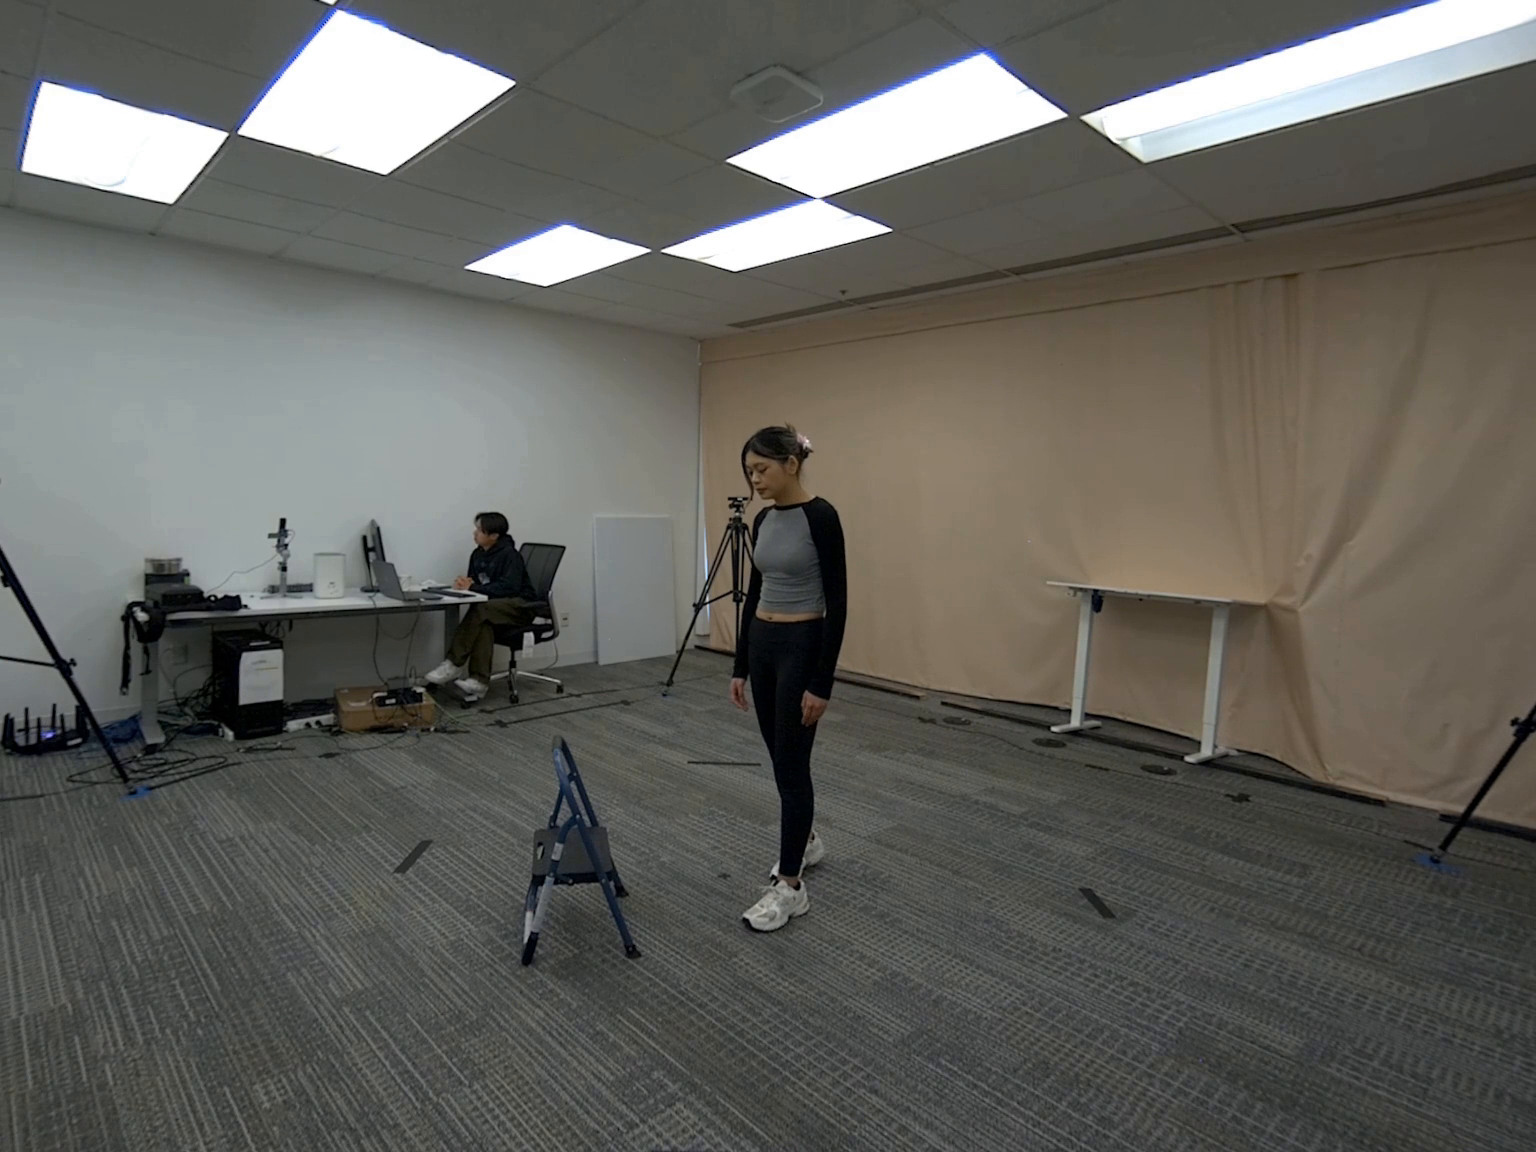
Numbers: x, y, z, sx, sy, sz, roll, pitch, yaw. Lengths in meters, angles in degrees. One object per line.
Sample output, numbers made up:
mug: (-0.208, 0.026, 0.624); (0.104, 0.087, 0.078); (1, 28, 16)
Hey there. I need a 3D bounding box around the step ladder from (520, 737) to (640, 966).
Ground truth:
step ladder: (-0.608, 0.834, 2.692); (0.345, 0.604, 0.436); (0, 4, -14)
